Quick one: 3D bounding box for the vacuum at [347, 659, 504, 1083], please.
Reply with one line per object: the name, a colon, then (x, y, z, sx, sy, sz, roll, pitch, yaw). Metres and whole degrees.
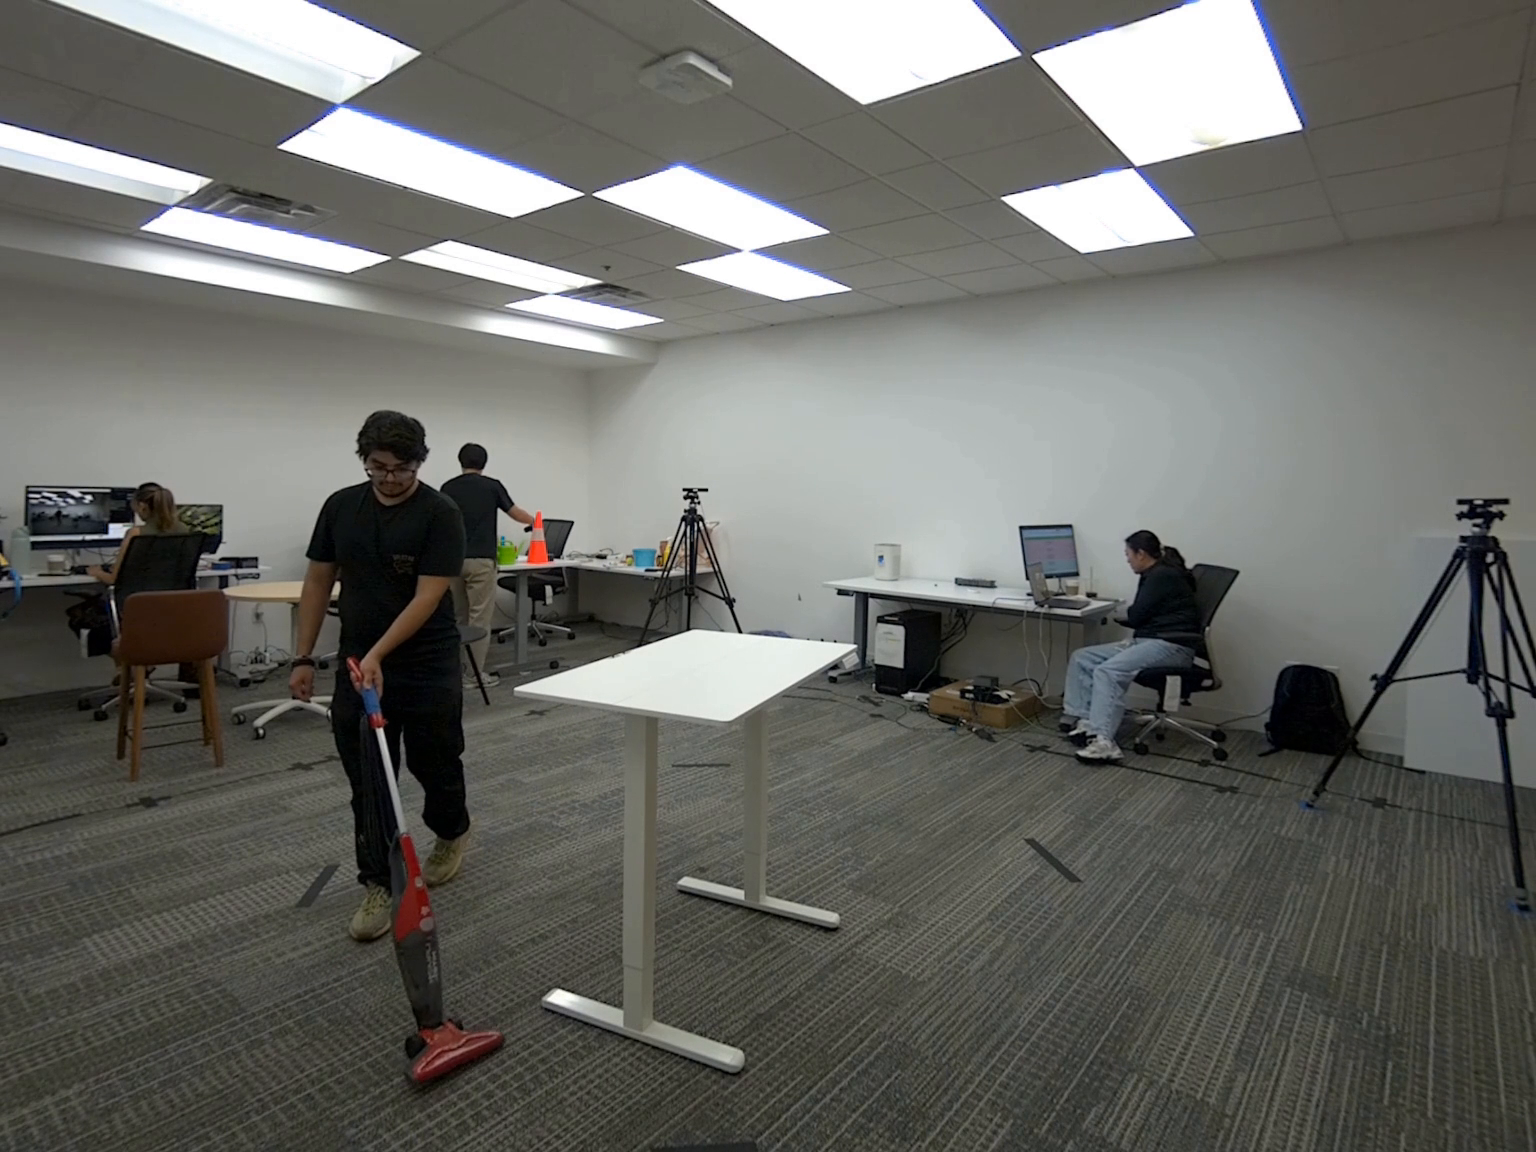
vacuum: (-0.992, 0.697, 2.259, 0.145, 1.079, 0.244, -36, -25, 26)
